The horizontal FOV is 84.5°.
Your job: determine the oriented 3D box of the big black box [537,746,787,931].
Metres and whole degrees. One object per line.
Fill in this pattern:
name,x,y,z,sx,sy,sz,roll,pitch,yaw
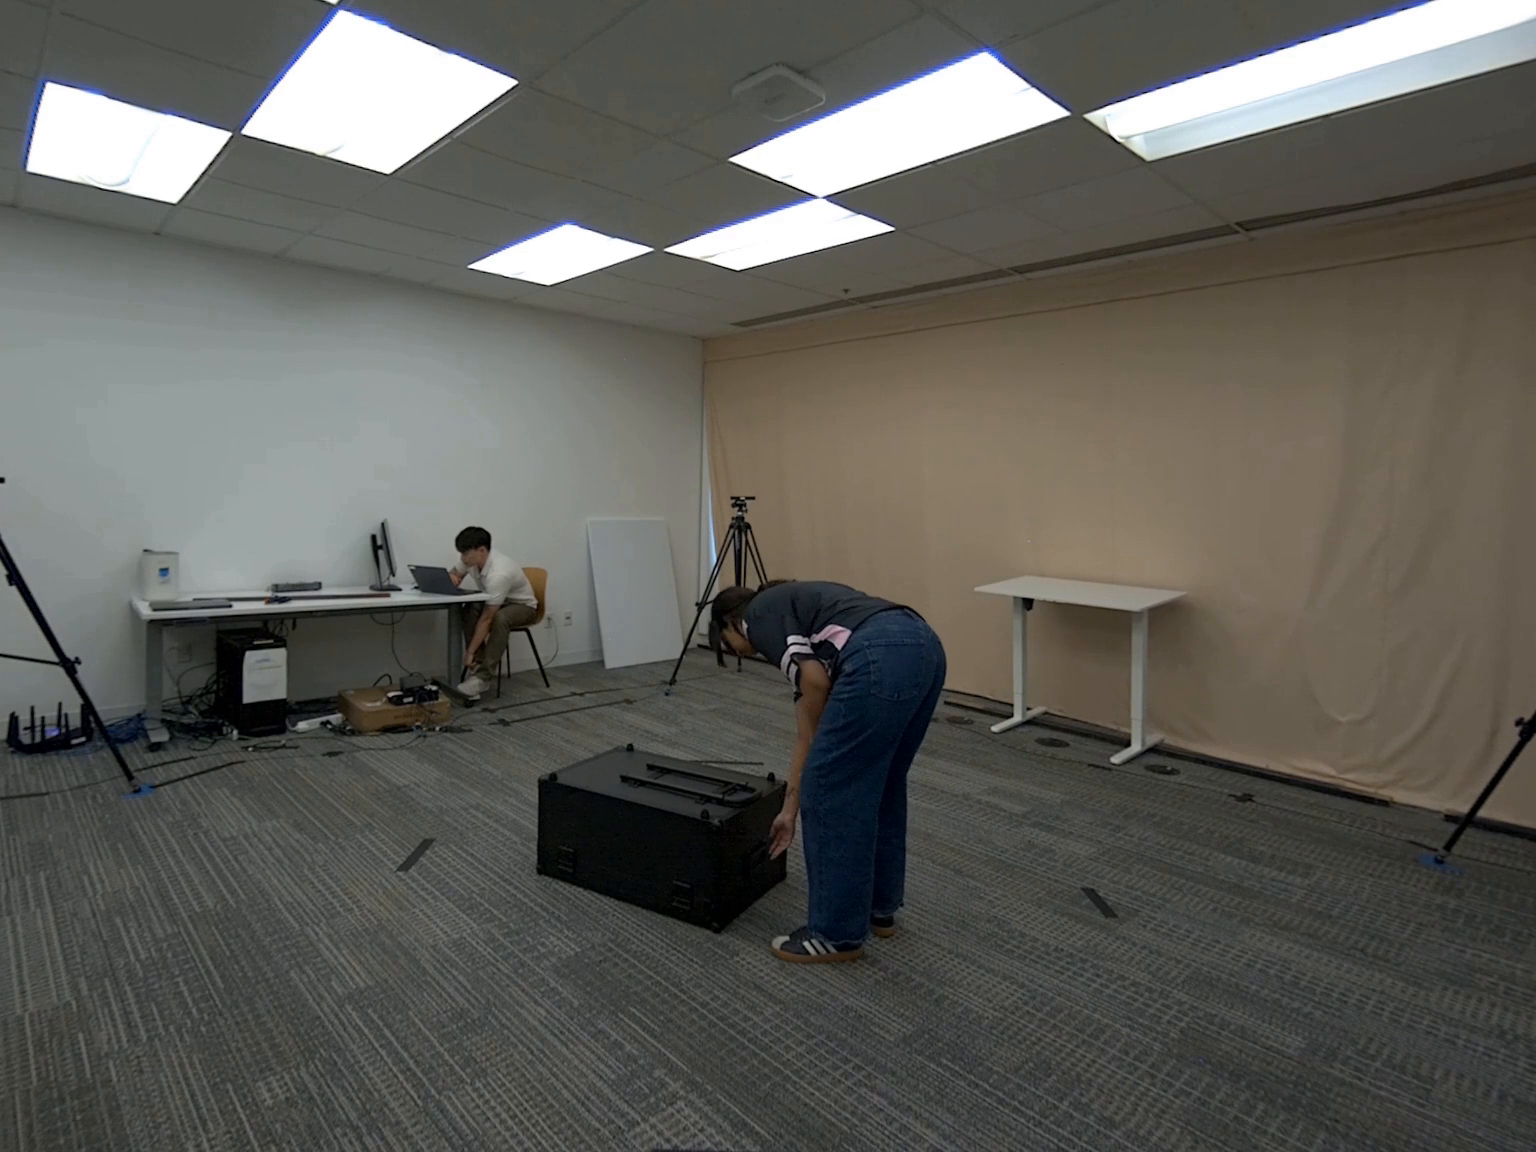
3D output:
big black box,-0.424,0.903,3.092,0.880,0.395,0.511,3,5,29
